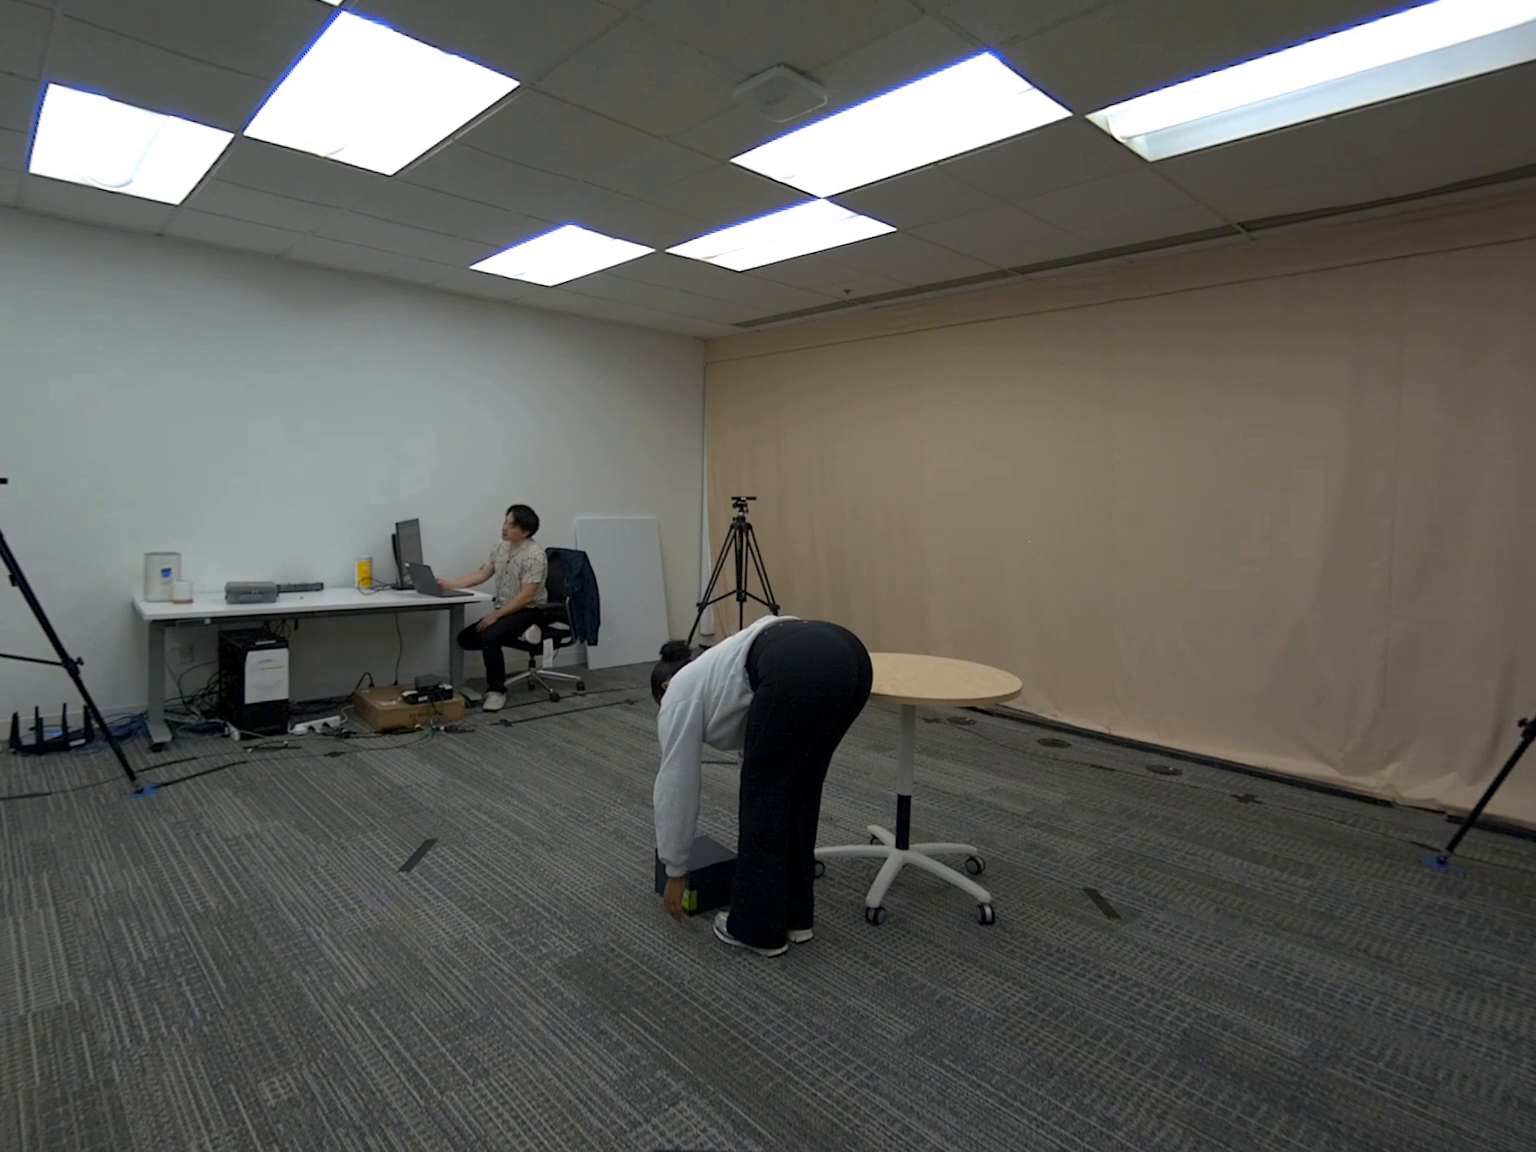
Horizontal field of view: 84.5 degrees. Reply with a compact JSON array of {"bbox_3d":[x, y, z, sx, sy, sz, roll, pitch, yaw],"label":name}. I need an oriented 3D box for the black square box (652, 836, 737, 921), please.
[{"bbox_3d":[-0.247,1.040,2.936,0.212,0.155,0.234,-1,6,-37],"label":"black square box"}]
